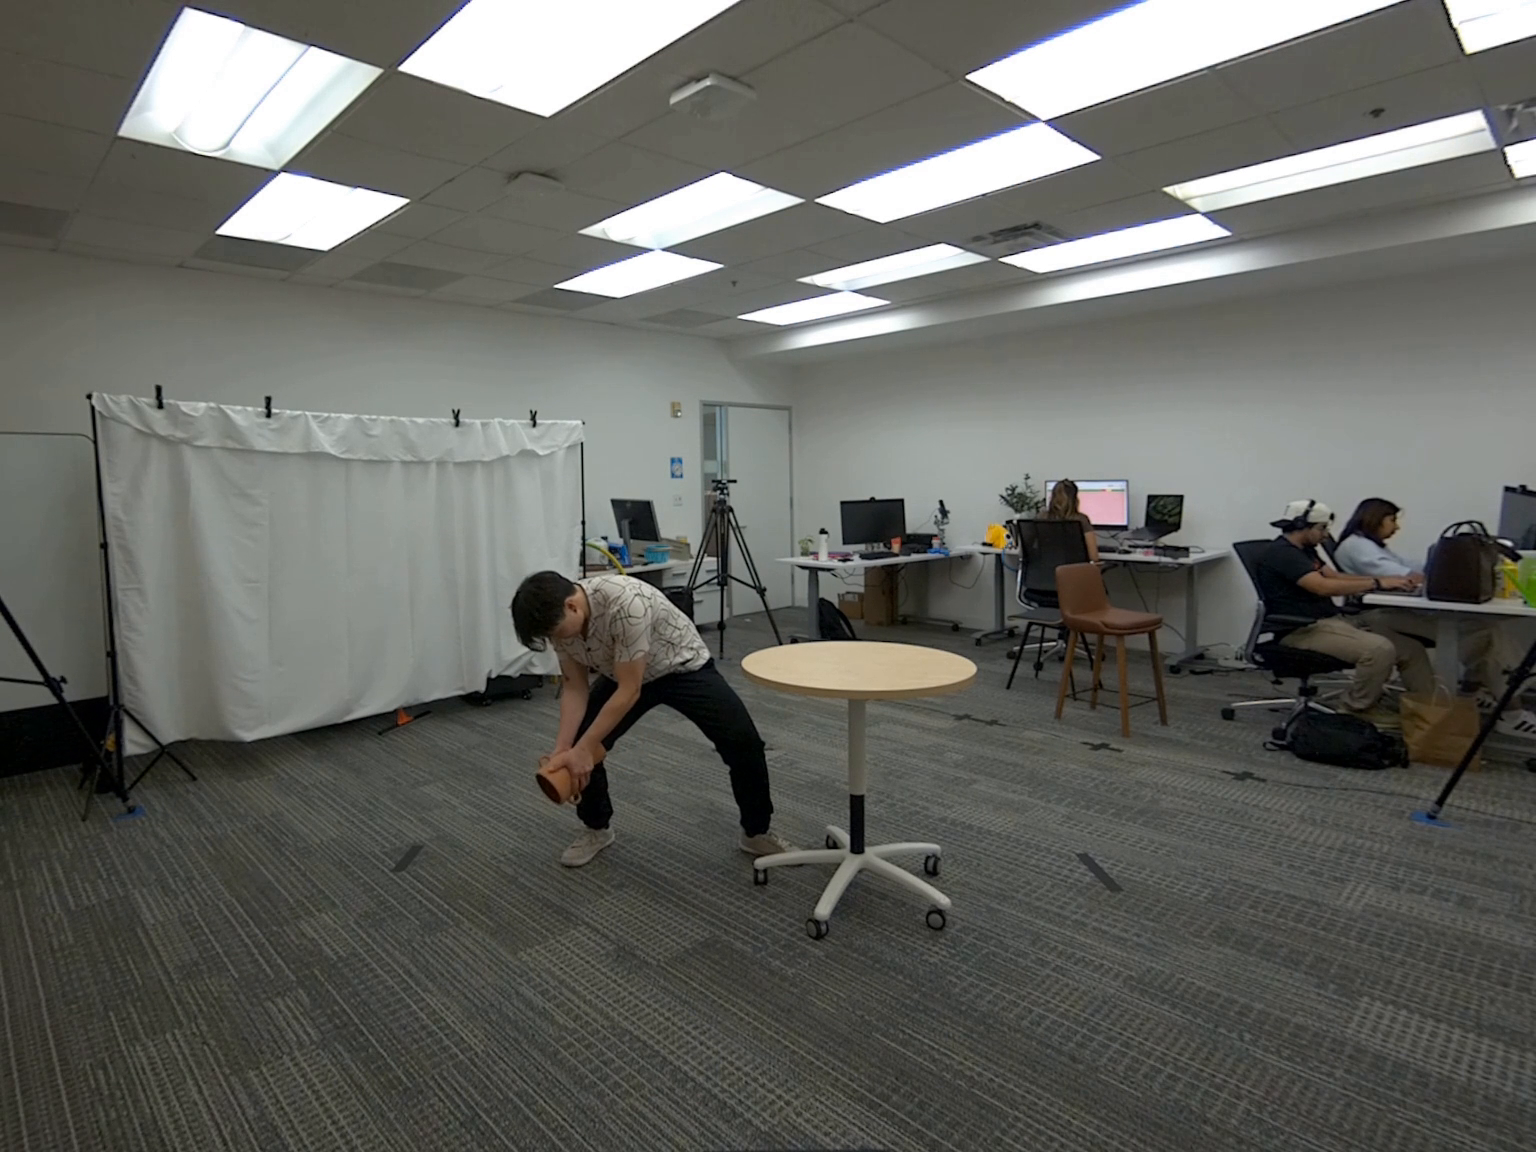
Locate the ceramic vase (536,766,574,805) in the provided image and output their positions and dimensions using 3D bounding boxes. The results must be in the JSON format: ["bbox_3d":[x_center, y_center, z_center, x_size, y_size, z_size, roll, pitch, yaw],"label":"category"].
[{"bbox_3d":[-0.656,0.643,2.862,0.139,0.155,0.218,6,32,43],"label":"ceramic vase"}]
